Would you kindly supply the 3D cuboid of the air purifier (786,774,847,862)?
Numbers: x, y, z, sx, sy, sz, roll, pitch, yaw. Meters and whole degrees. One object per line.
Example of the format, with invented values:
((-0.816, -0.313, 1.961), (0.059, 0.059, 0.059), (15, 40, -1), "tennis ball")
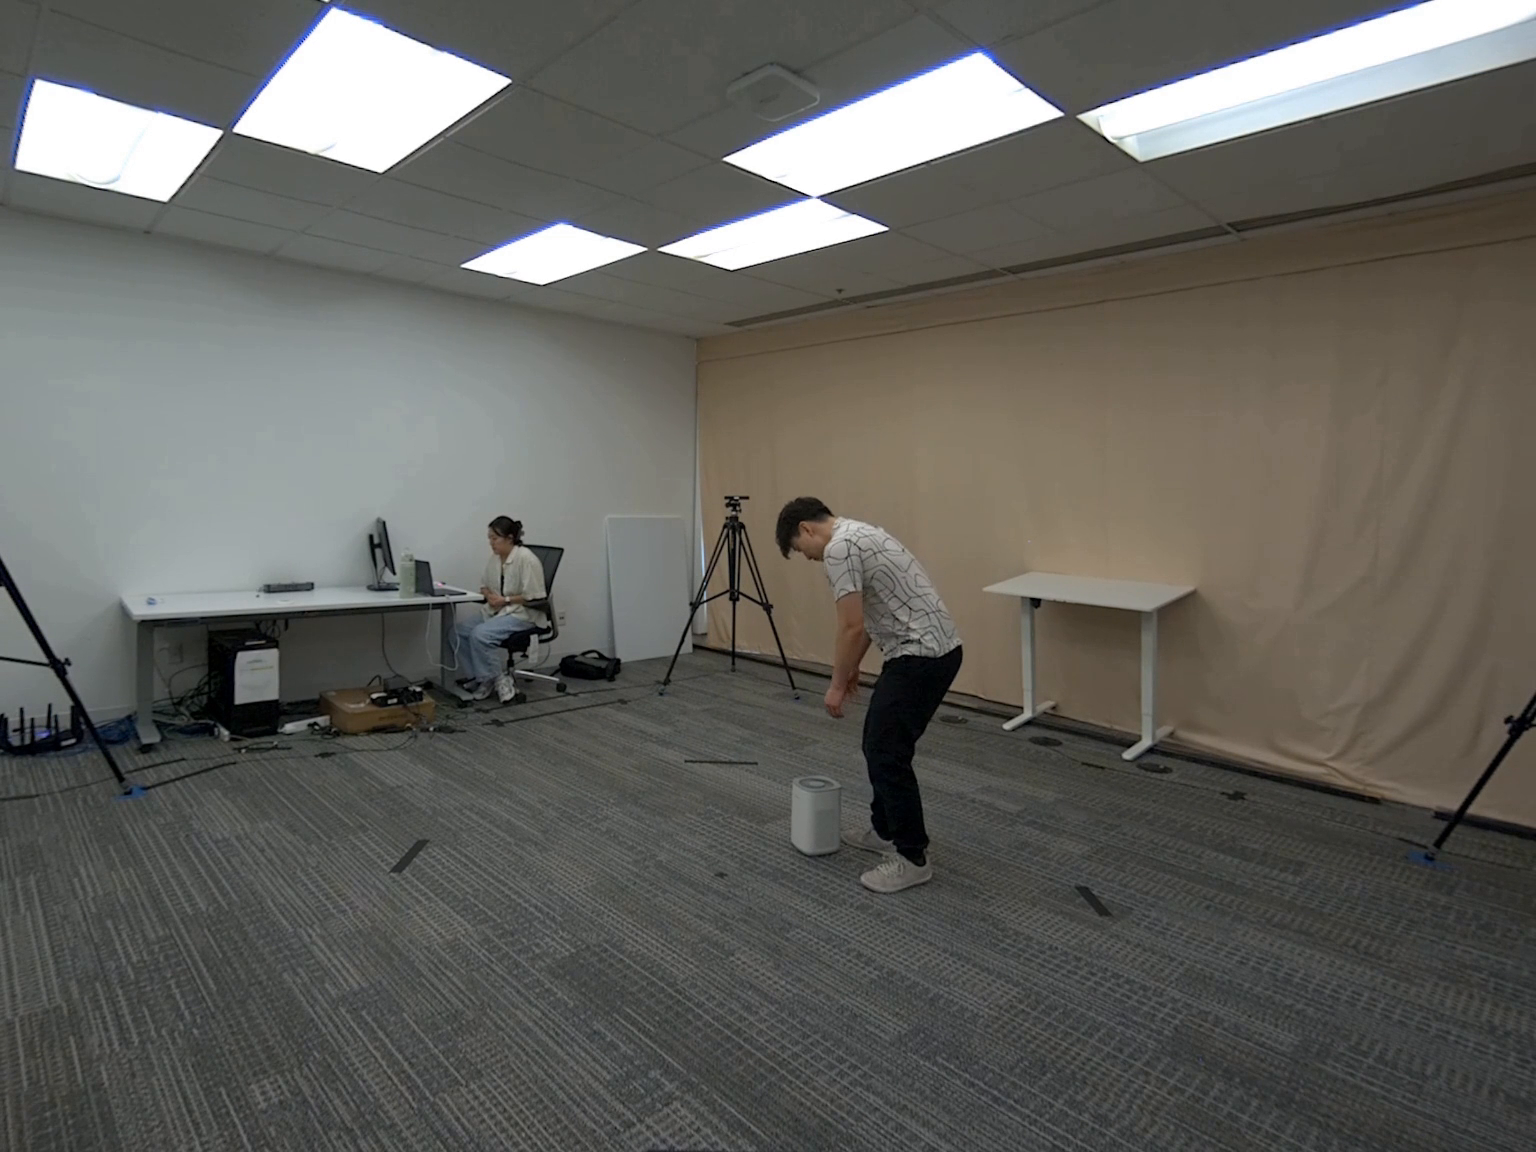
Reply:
((0.189, 0.954, 3.360), (0.168, 0.265, 0.175), (-1, 3, -25), "air purifier")
